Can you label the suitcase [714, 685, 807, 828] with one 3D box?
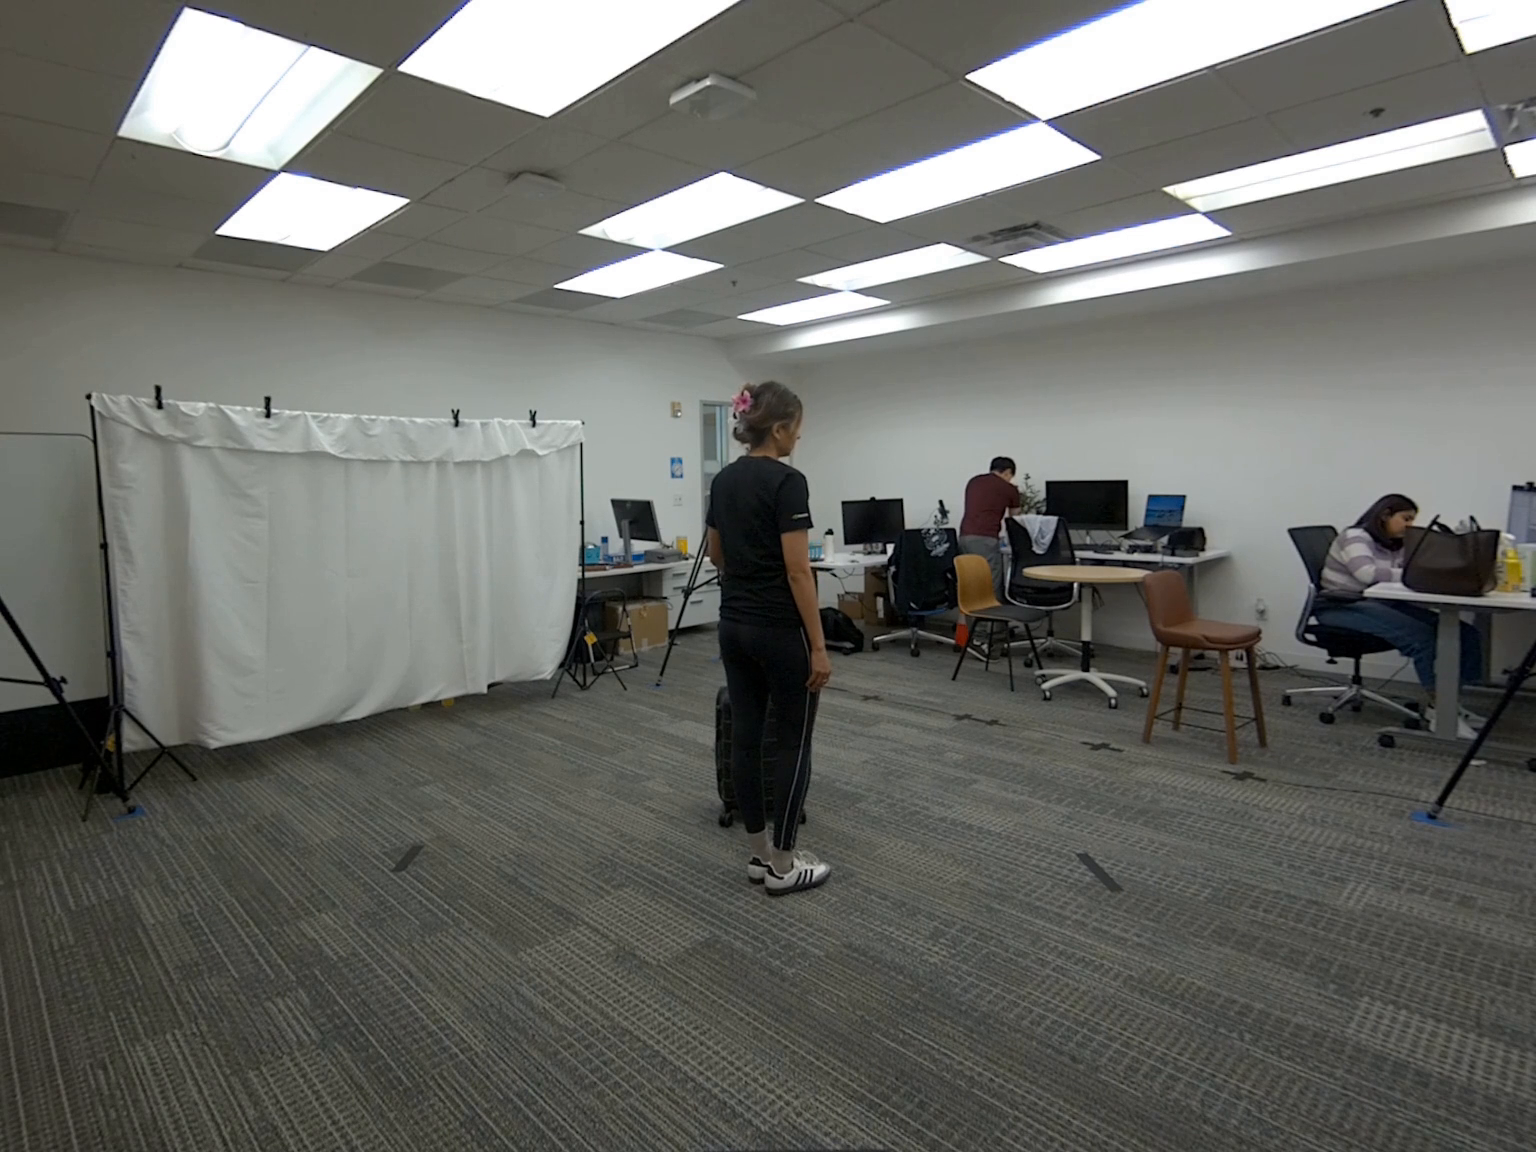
[{"bbox_3d":[-0.033,0.520,3.567,0.383,0.978,0.258,-1,0,-4],"label":"suitcase"}]
